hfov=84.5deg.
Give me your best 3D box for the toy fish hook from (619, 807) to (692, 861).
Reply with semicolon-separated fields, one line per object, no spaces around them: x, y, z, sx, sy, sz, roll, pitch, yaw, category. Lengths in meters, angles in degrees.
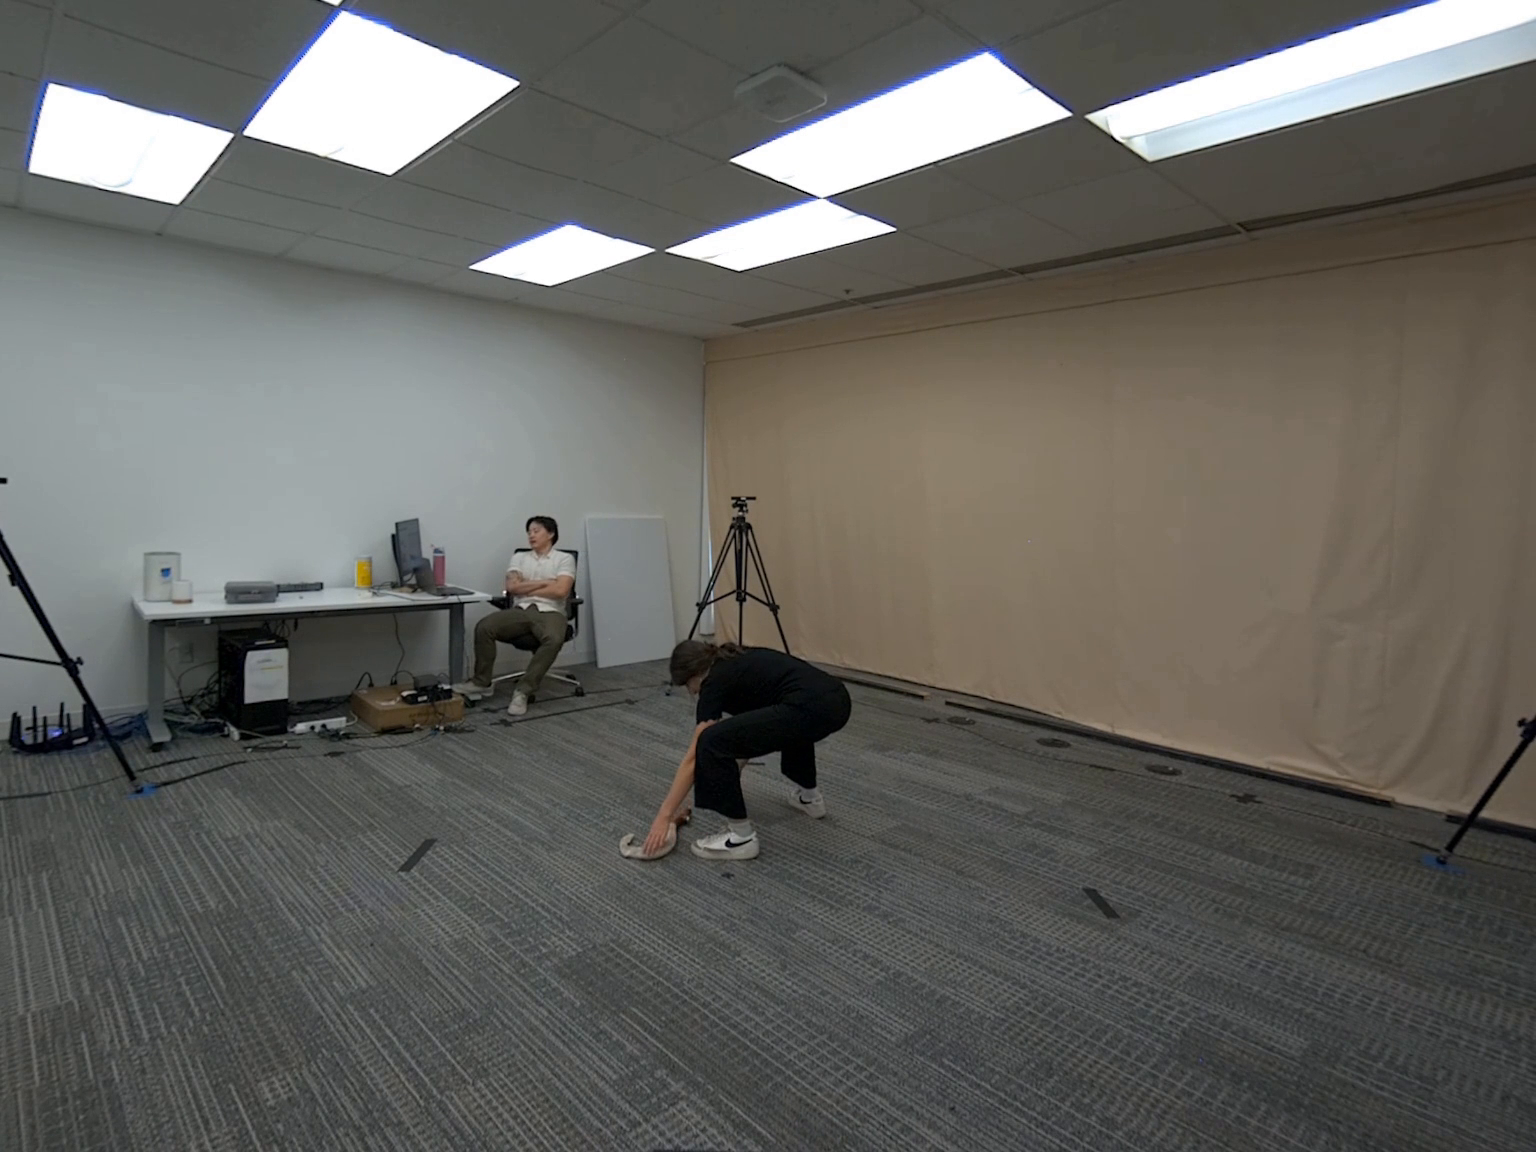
-0.458;1.043;3.462;0.227;0.048;0.502;5;6;12;toy fish hook
